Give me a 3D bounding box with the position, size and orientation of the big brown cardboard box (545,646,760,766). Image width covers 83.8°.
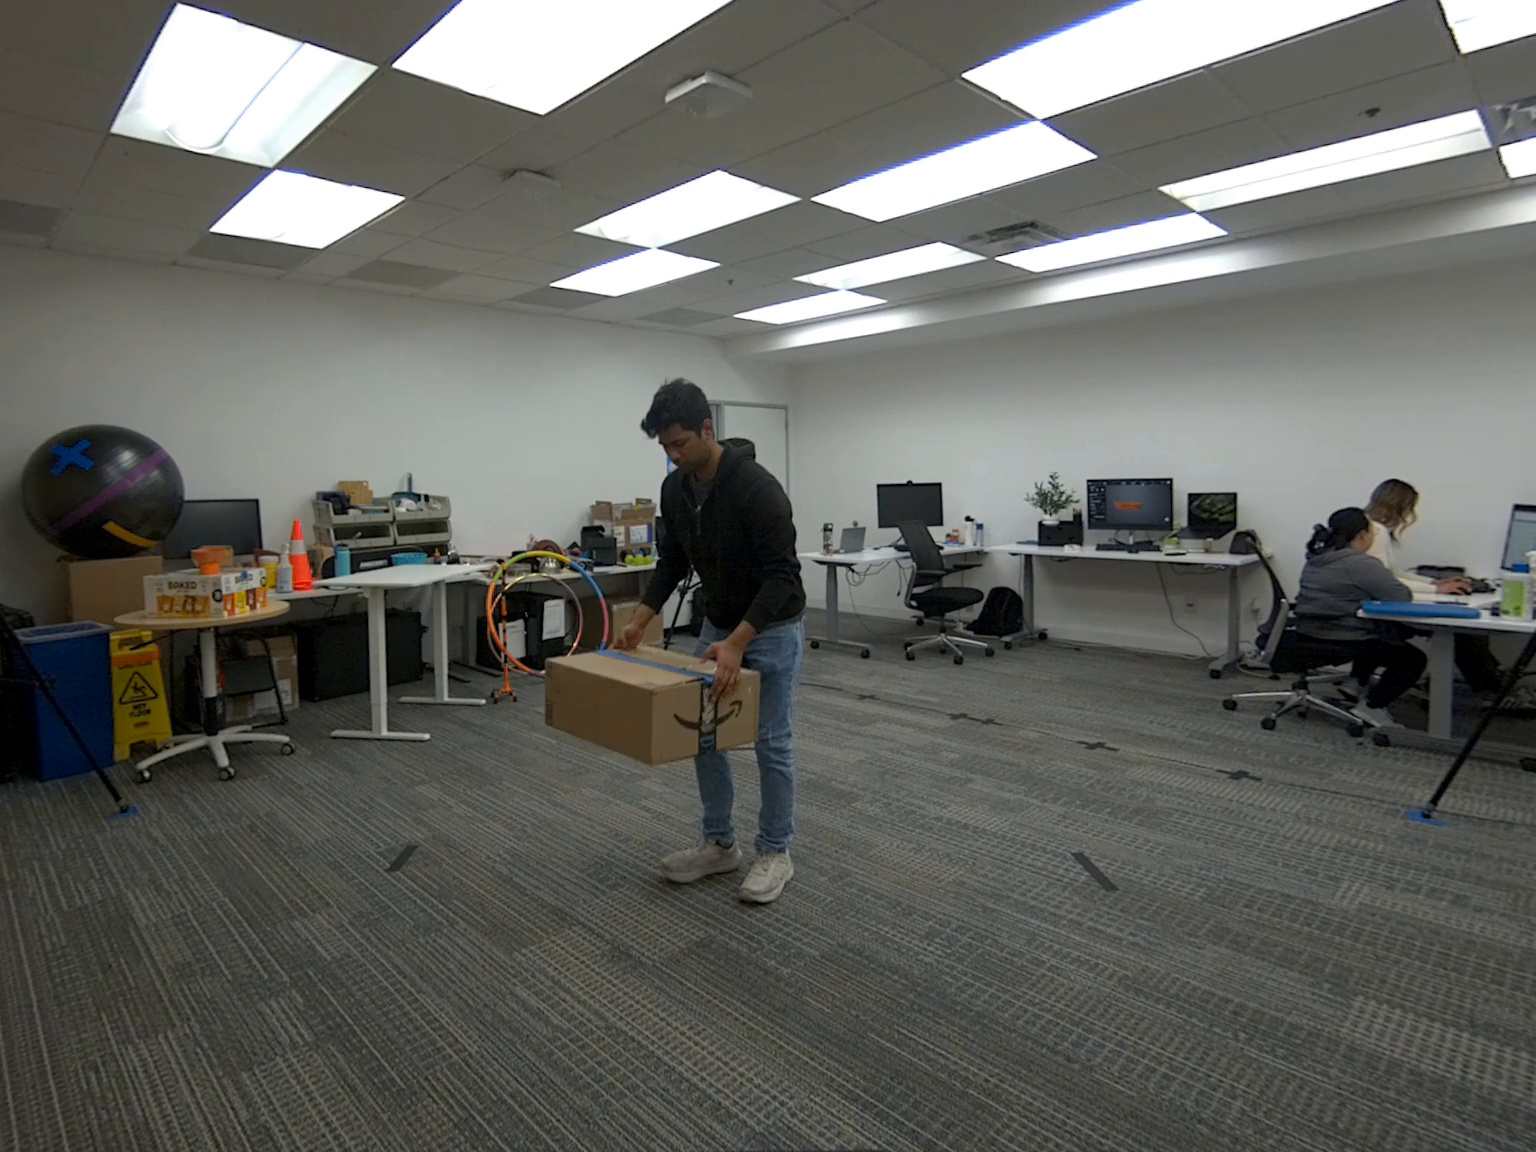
[{"bbox_3d":[-0.366,0.401,2.676,0.406,0.233,0.607,-3,5,-44],"label":"big brown cardboard box"}]
